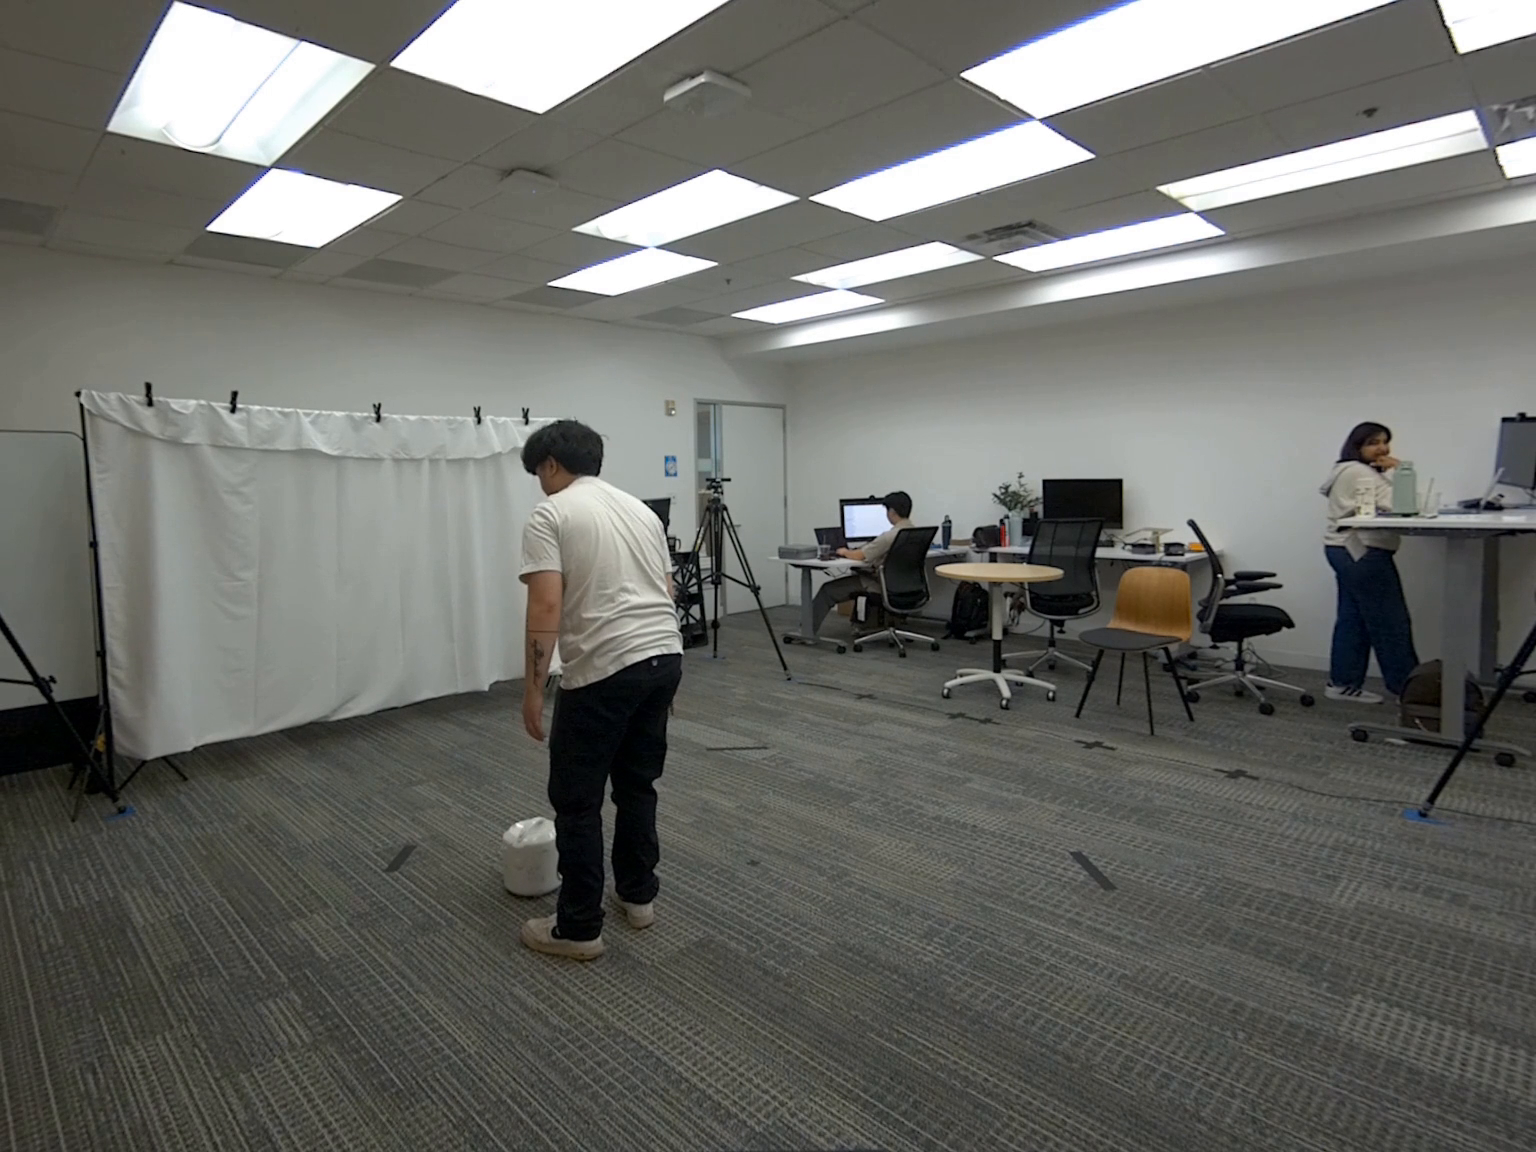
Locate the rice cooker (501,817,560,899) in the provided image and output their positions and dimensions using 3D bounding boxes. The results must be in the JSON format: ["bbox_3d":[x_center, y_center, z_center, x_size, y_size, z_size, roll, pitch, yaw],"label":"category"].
[{"bbox_3d":[-0.803,0.954,2.956,0.221,0.232,0.218,-1,6,15],"label":"rice cooker"}]
